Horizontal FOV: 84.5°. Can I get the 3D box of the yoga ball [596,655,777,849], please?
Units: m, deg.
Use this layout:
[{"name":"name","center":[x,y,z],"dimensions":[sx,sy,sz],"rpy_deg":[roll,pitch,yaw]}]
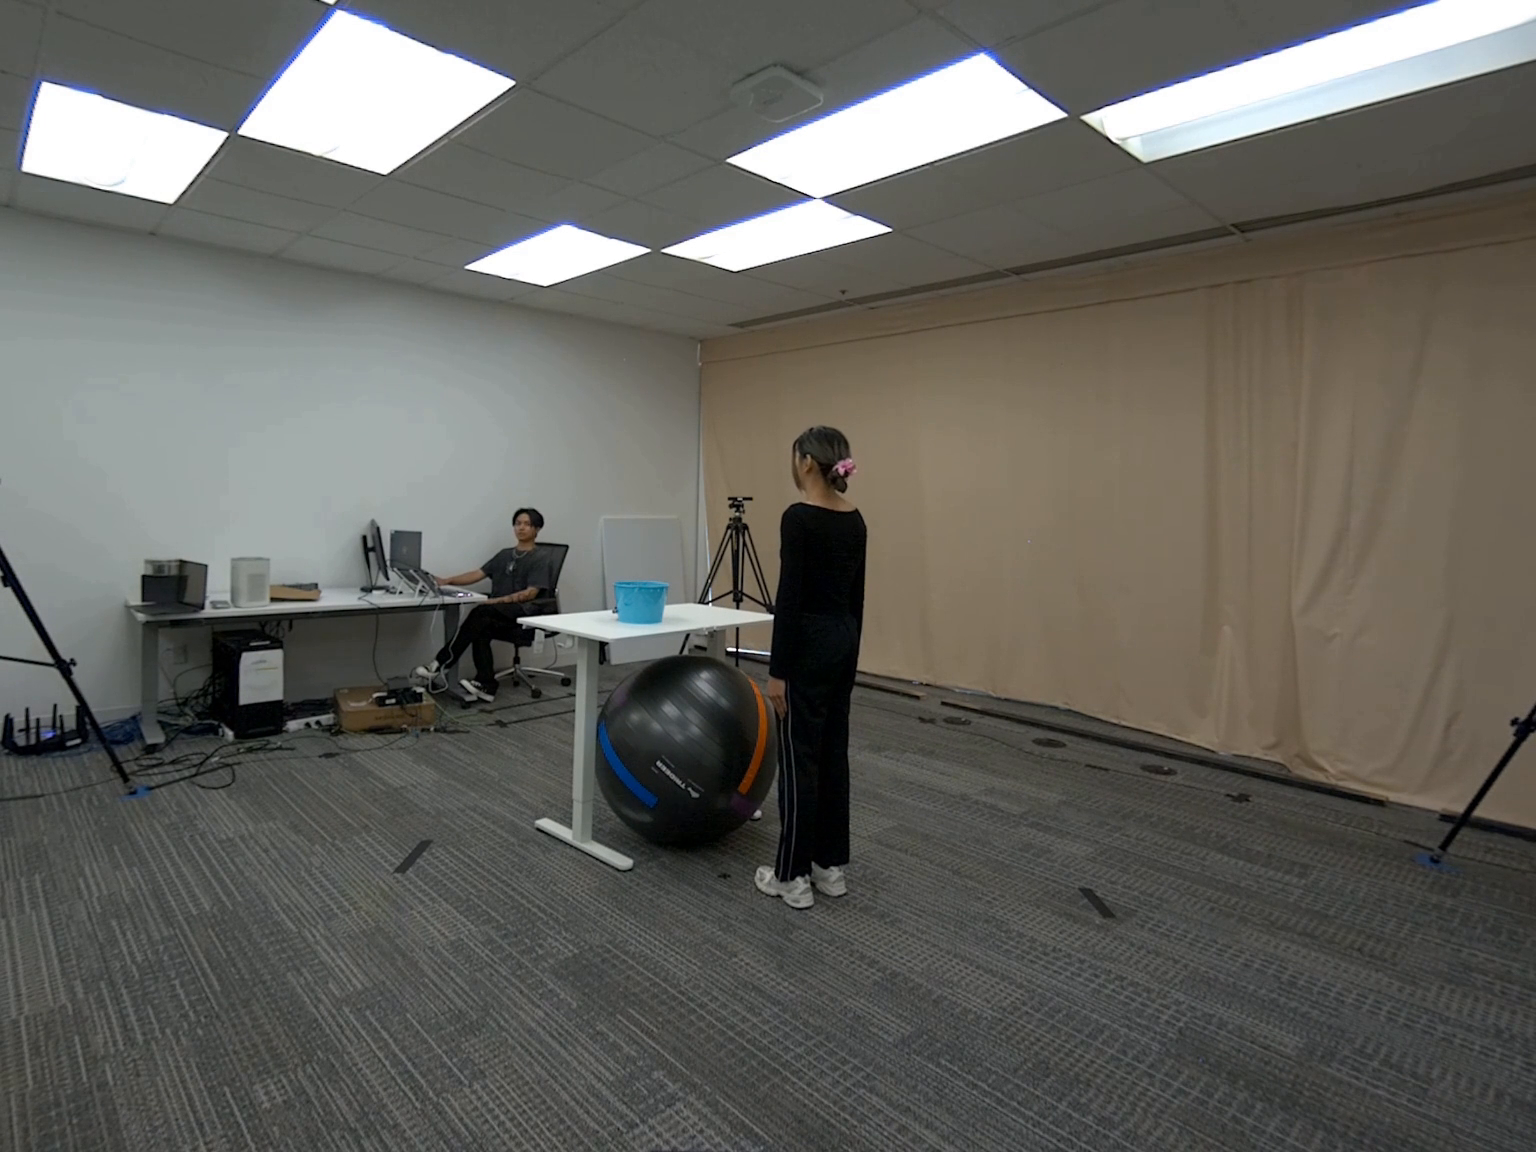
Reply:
[{"name":"yoga ball","center":[-0.342,0.708,3.453],"dimensions":[0.757,0.756,0.760],"rpy_deg":[1,4,-1]}]
